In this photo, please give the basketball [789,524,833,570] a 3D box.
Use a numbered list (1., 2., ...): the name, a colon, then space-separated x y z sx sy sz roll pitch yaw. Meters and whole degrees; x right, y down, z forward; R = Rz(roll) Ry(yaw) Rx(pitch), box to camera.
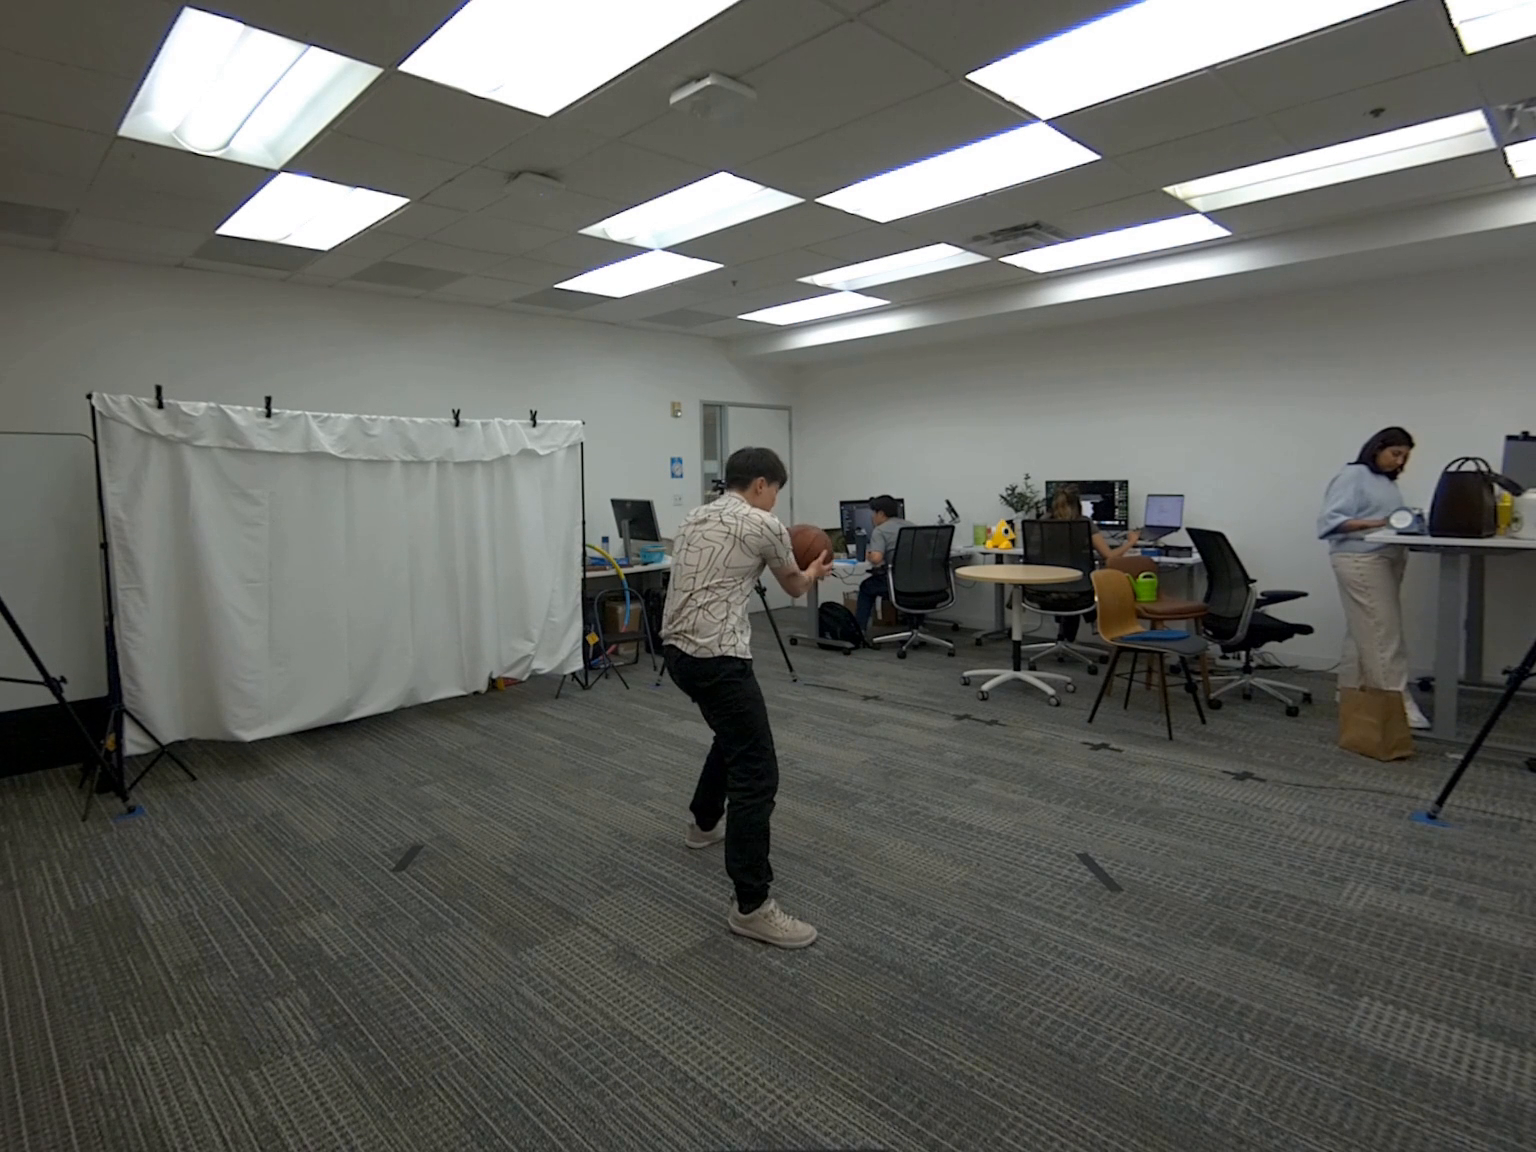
1. basketball: 0.157 -0.089 3.489 0.236 0.235 0.237 -1 5 -2
